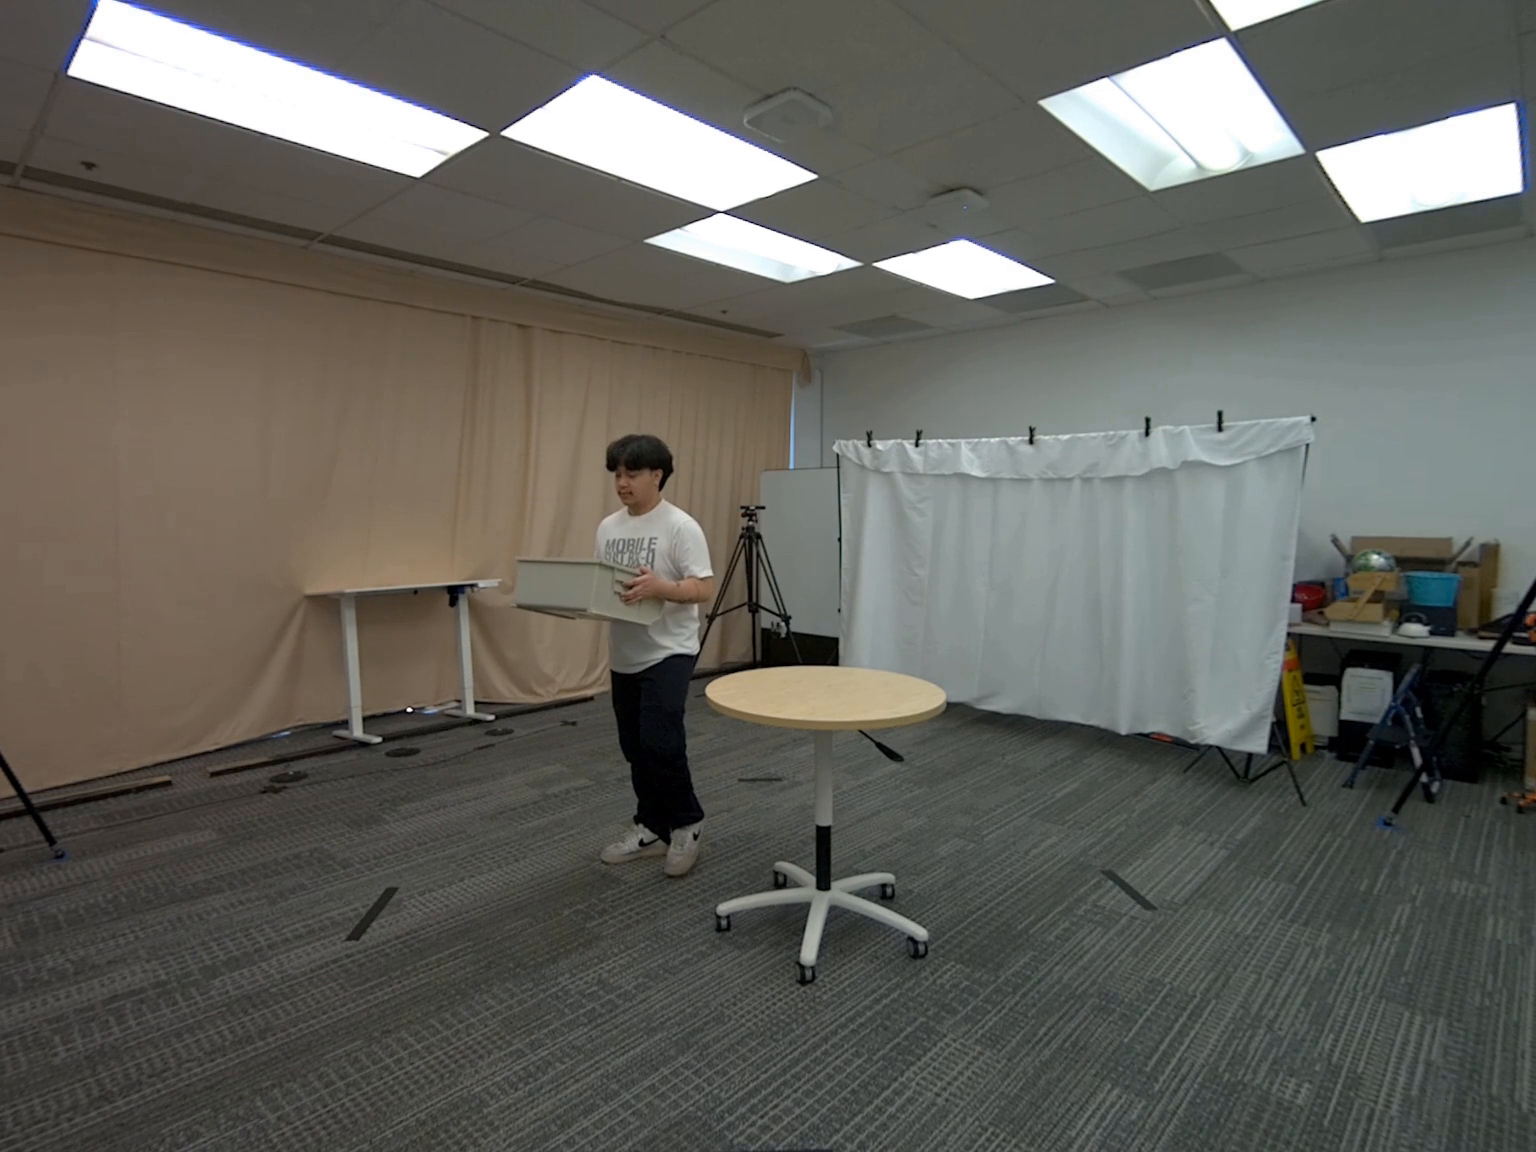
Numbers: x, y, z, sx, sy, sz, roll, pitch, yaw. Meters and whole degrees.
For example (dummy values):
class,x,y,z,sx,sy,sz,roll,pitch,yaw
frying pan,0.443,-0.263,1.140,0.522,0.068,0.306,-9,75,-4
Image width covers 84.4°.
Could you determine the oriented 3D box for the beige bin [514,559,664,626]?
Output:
class,x,y,z,sx,sy,sz,roll,pitch,yaw
beige bin,-0.647,0.066,3.028,0.435,0.189,0.364,3,-8,34
